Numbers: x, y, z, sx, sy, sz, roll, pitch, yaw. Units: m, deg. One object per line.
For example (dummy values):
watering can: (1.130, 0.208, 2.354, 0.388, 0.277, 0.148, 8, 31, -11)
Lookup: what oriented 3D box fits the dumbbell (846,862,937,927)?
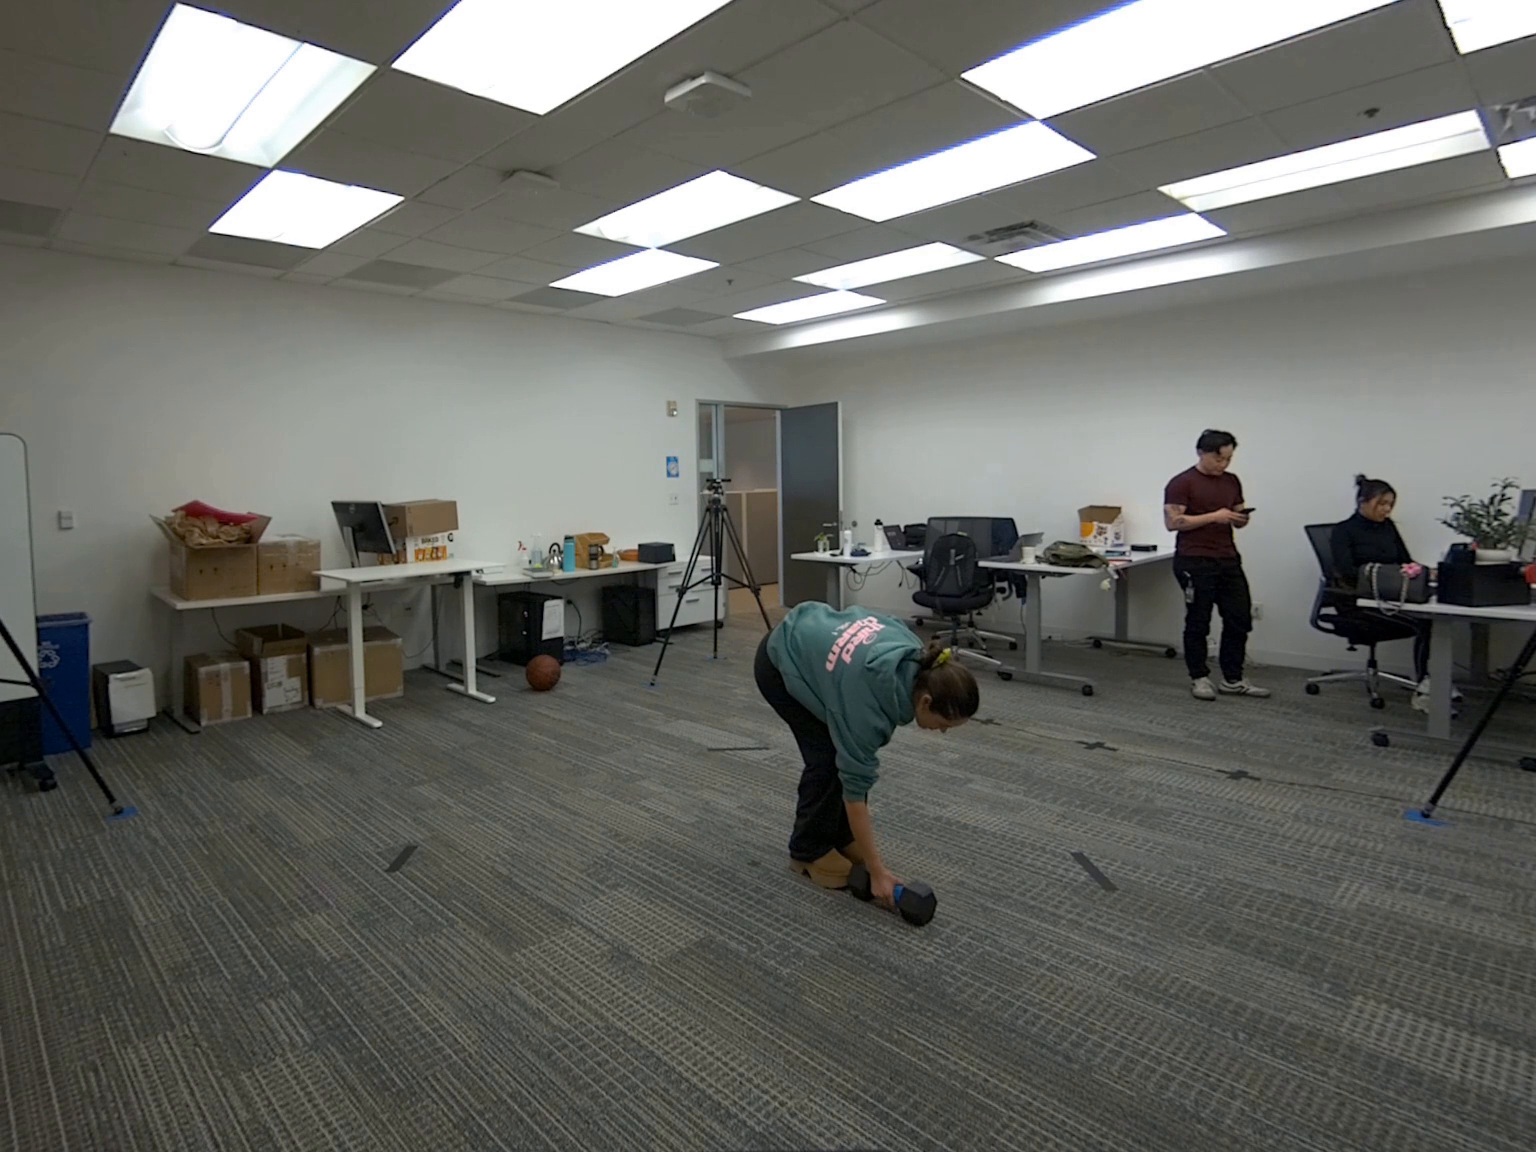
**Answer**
dumbbell: (0.400, 1.023, 2.761, 0.105, 0.124, 0.303, 32, -17, -39)
